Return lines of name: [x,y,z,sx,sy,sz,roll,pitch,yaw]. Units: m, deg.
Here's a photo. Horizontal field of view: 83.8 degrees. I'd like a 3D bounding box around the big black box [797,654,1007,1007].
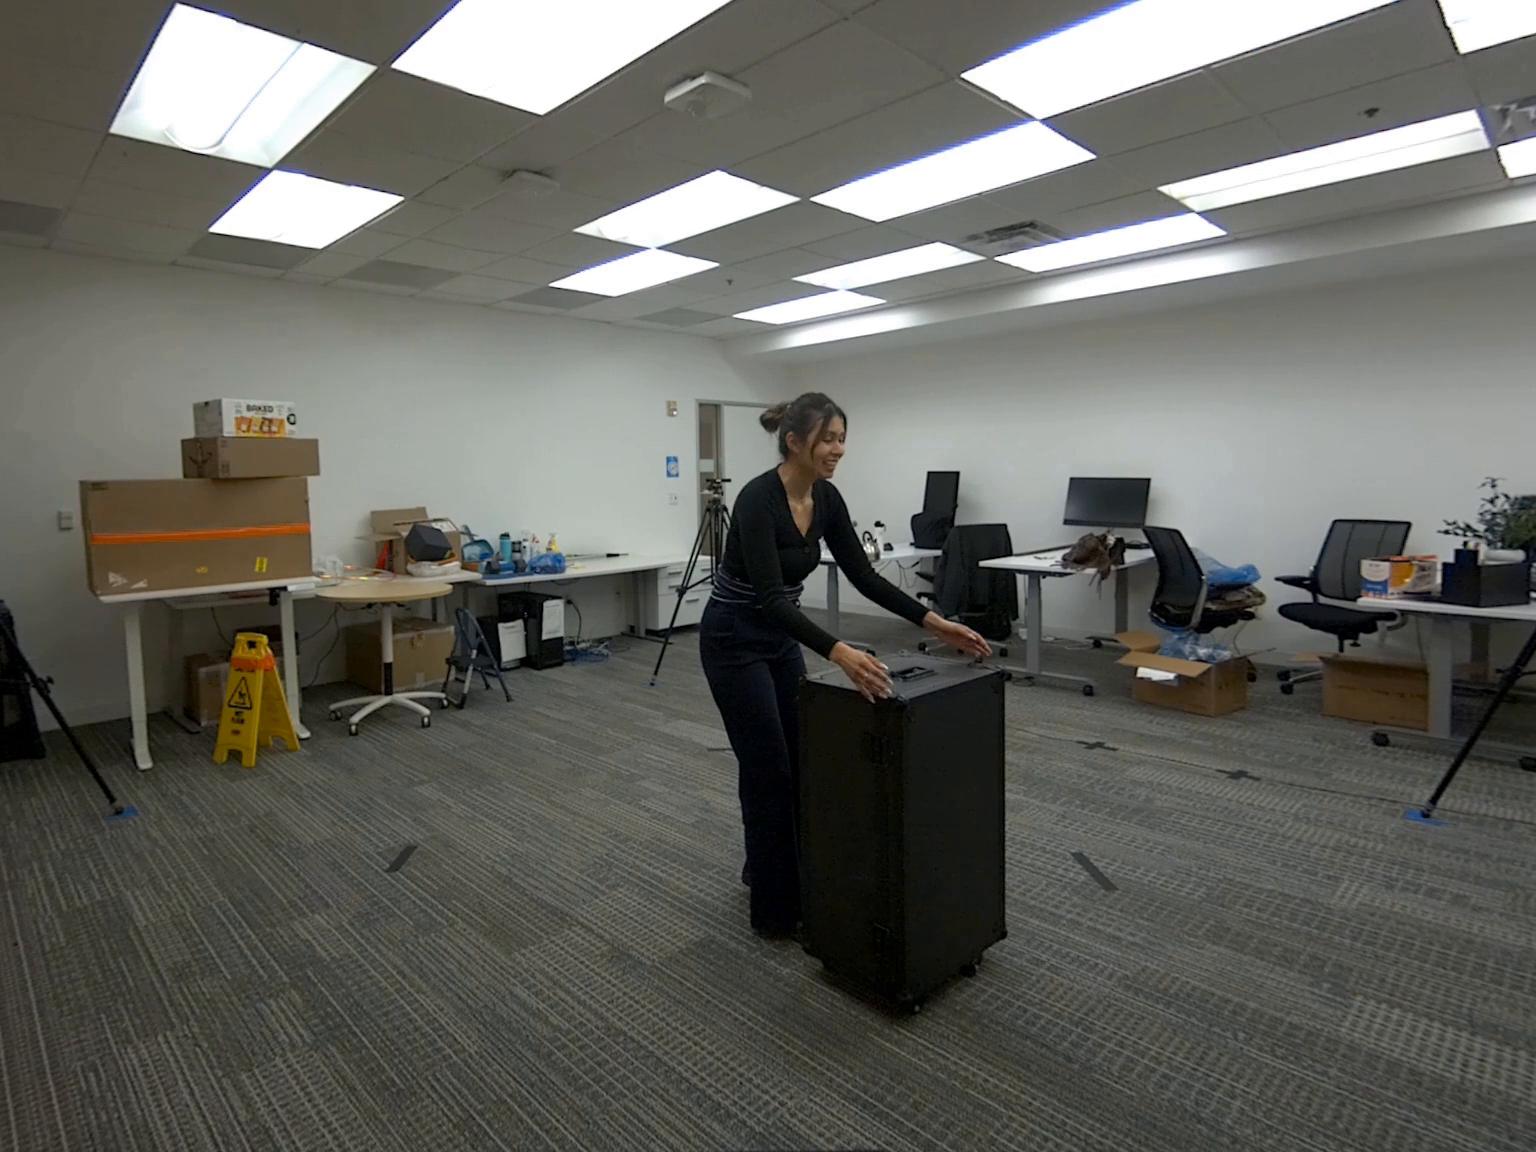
big black box: [0.377,0.691,2.404,0.507,0.859,0.408,-5,4,-42]
